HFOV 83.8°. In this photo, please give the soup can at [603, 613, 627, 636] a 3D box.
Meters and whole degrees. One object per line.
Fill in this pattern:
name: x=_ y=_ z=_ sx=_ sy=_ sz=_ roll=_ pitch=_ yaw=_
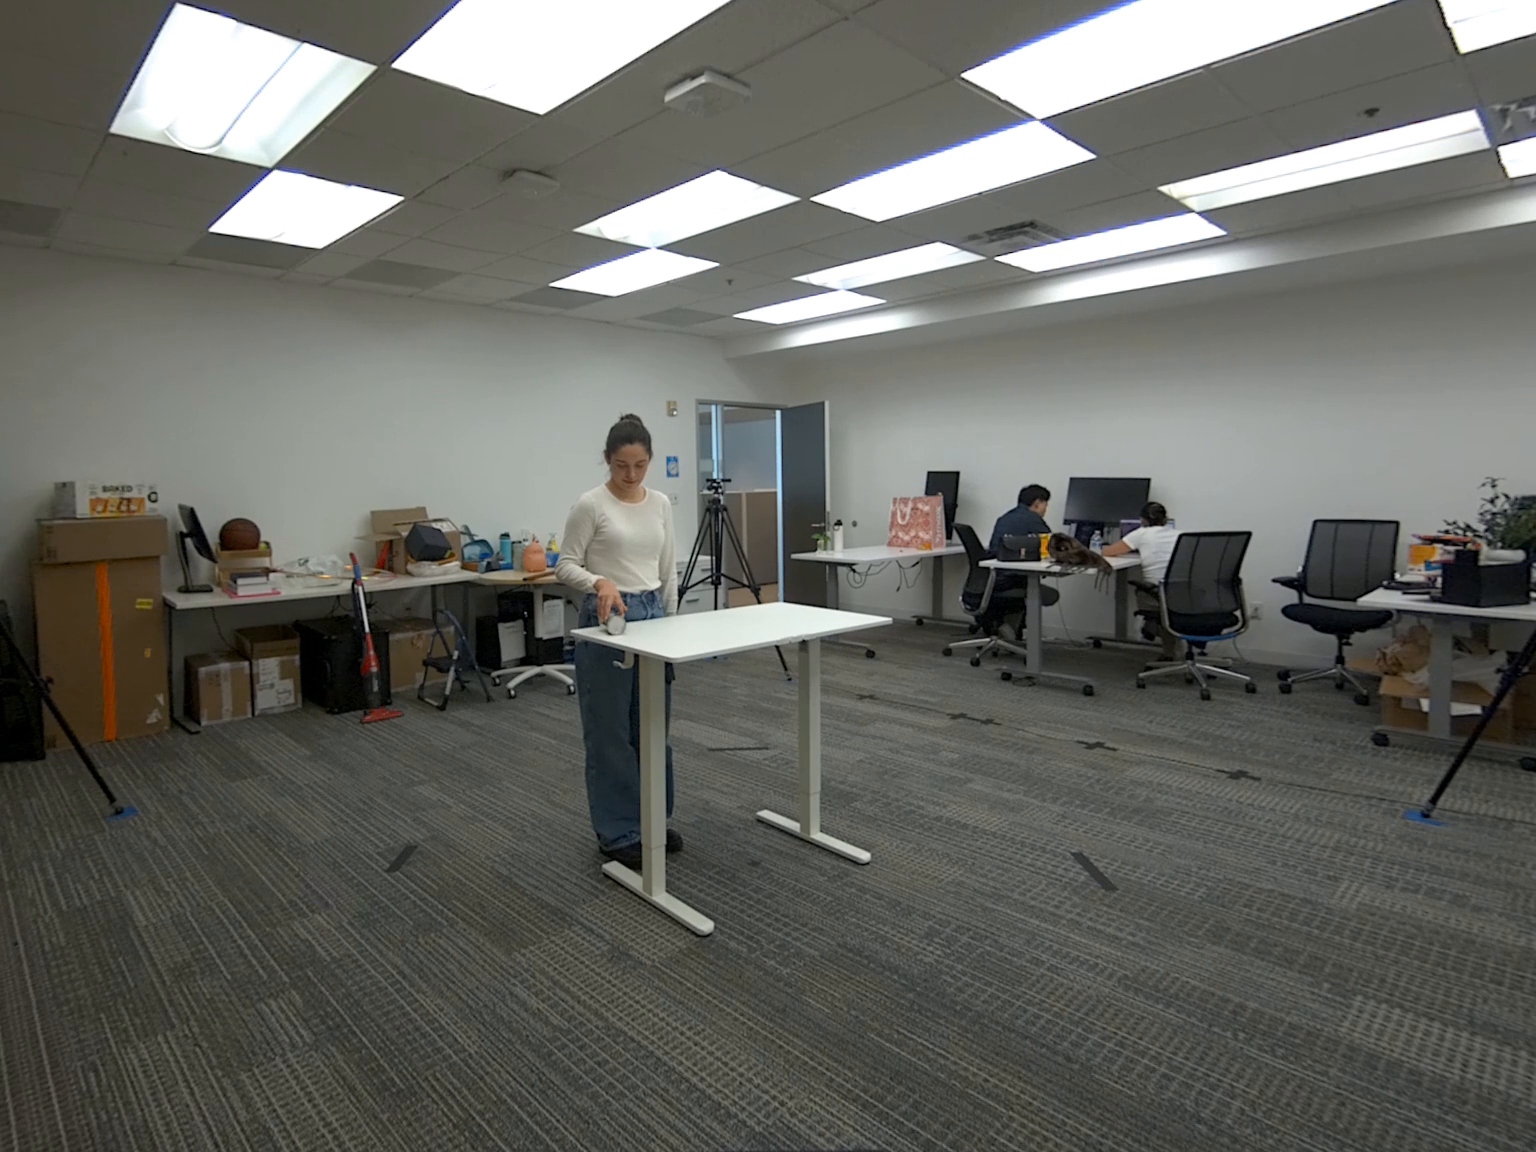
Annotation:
soup can: x=-0.515 y=0.161 z=2.892 sx=0.067 sy=0.067 sz=0.123 roll=-2 pitch=6 yaw=-8
